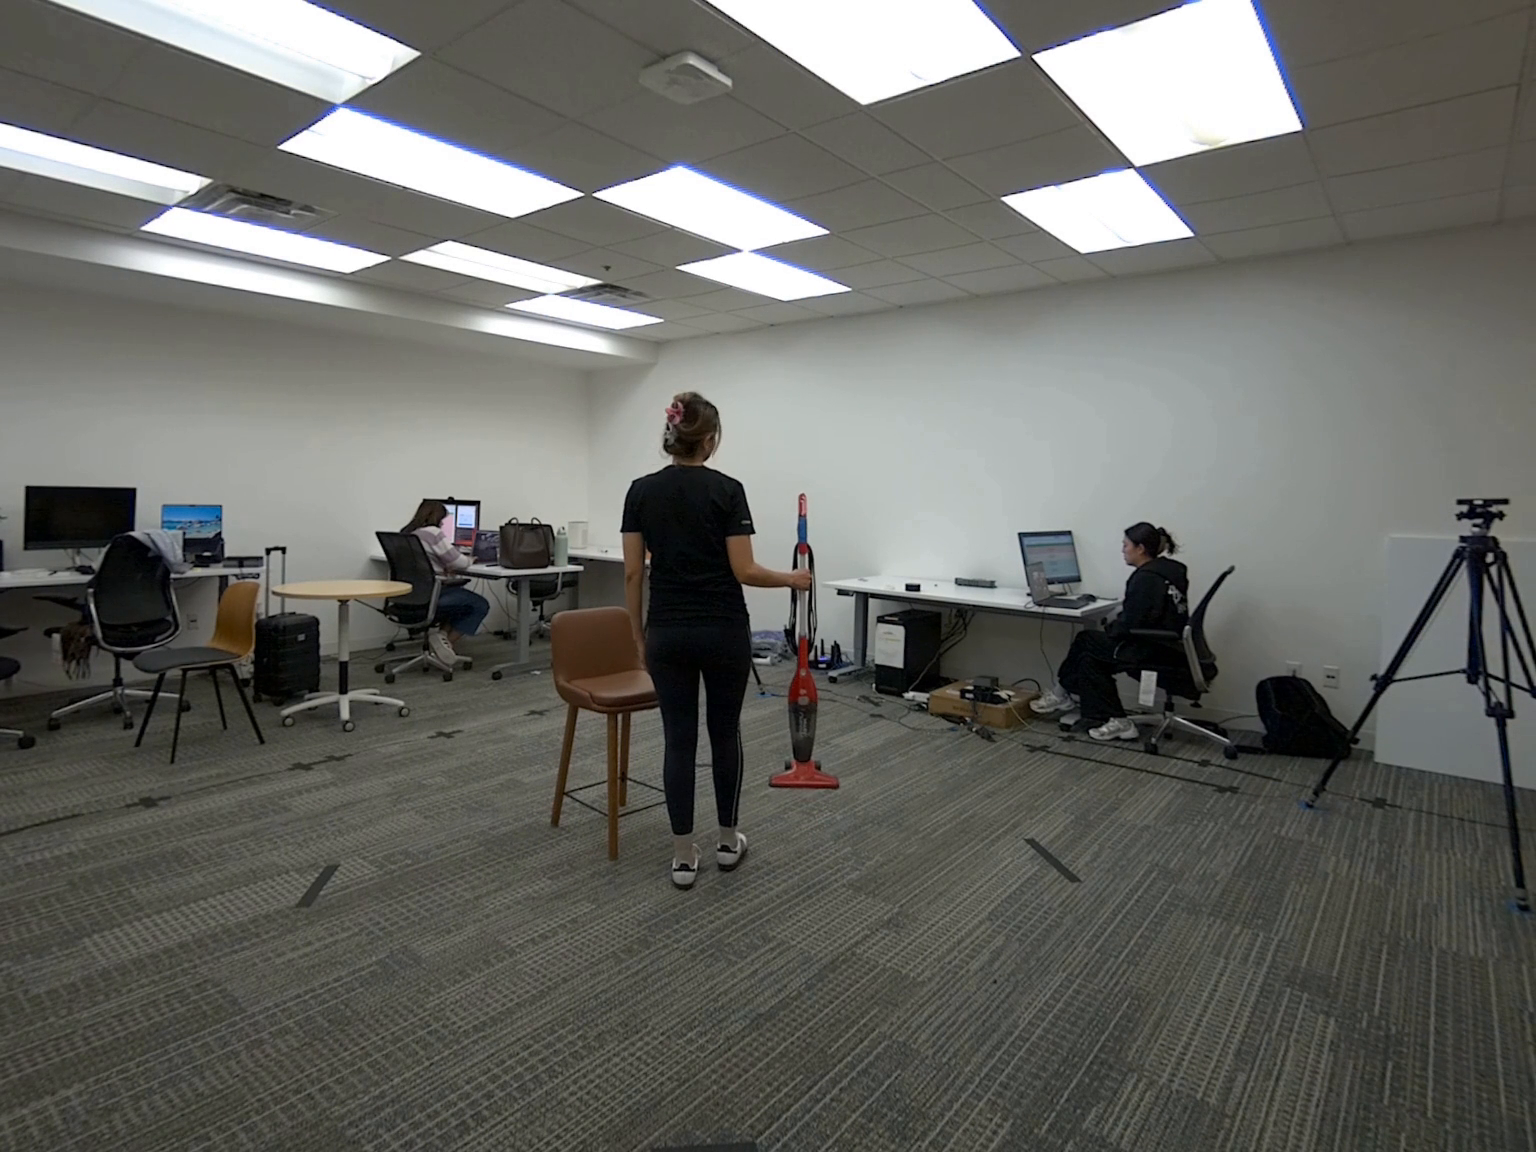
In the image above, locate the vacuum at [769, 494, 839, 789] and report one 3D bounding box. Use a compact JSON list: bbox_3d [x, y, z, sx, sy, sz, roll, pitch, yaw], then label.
[{"bbox_3d":[0.122,0.221,3.181,0.253,1.057,0.143,0,-7,1],"label":"vacuum"}]
